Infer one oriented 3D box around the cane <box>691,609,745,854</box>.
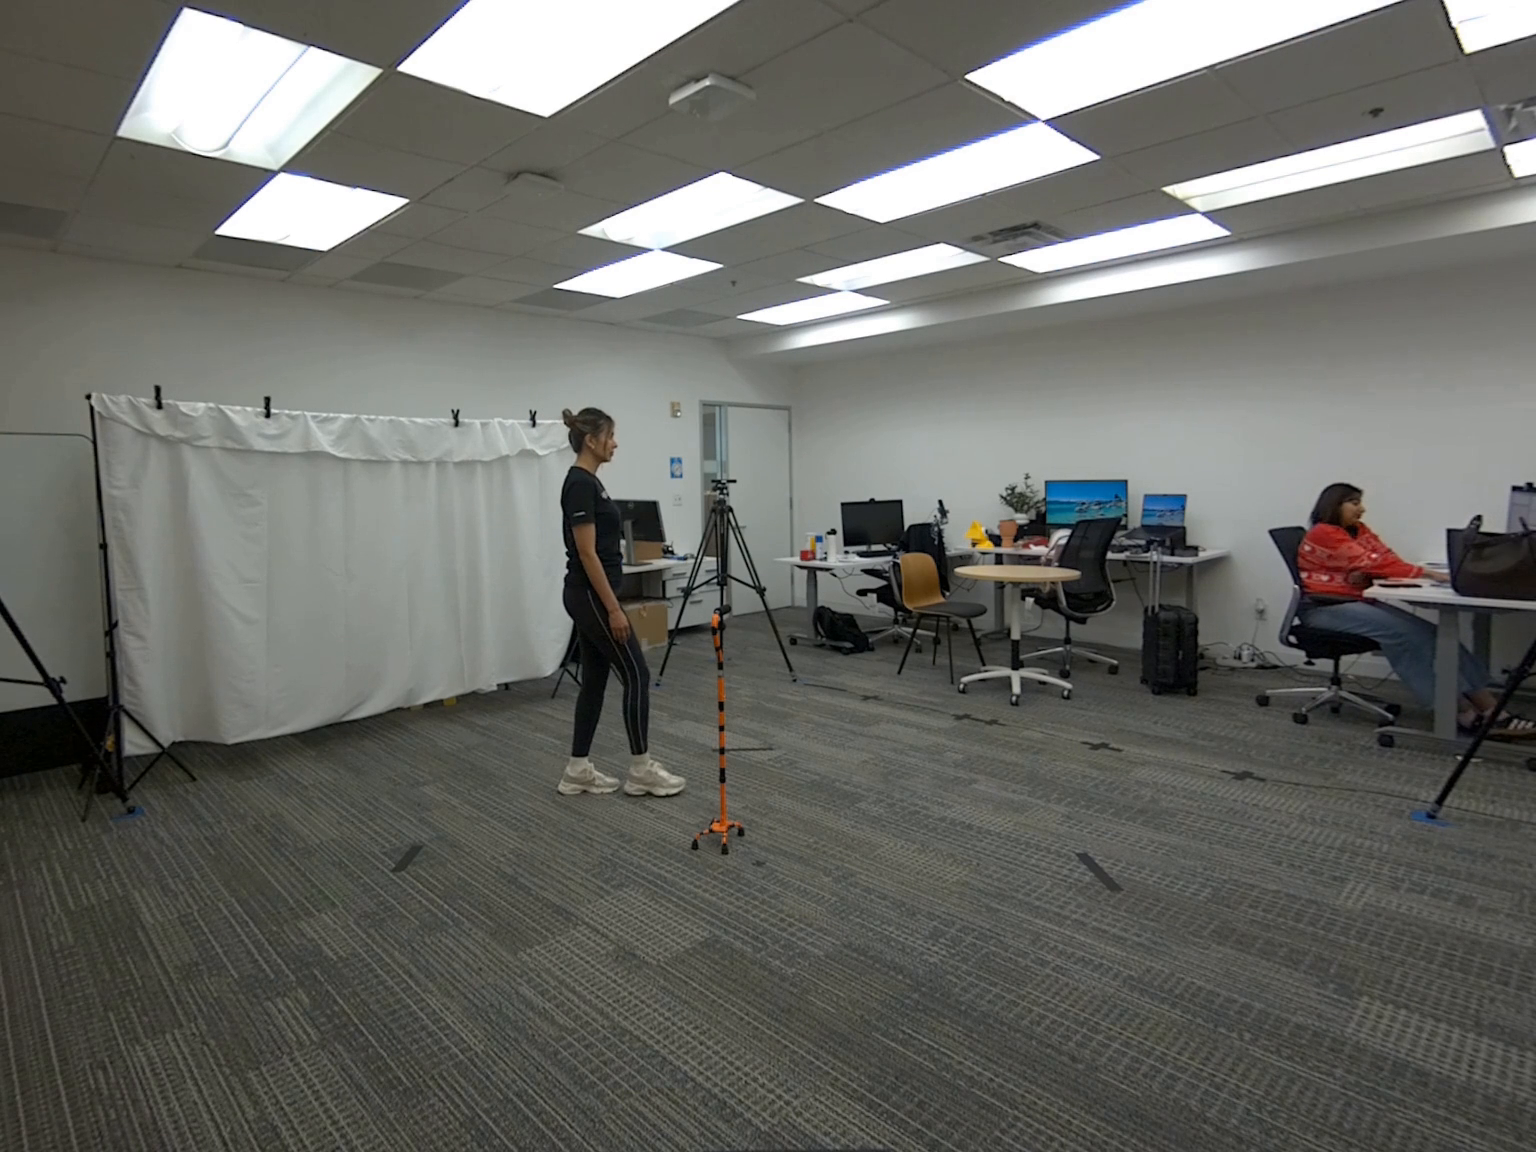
[{"bbox_3d":[-0.193,0.577,3.270,0.154,0.904,0.204,0,4,16],"label":"cane"}]
